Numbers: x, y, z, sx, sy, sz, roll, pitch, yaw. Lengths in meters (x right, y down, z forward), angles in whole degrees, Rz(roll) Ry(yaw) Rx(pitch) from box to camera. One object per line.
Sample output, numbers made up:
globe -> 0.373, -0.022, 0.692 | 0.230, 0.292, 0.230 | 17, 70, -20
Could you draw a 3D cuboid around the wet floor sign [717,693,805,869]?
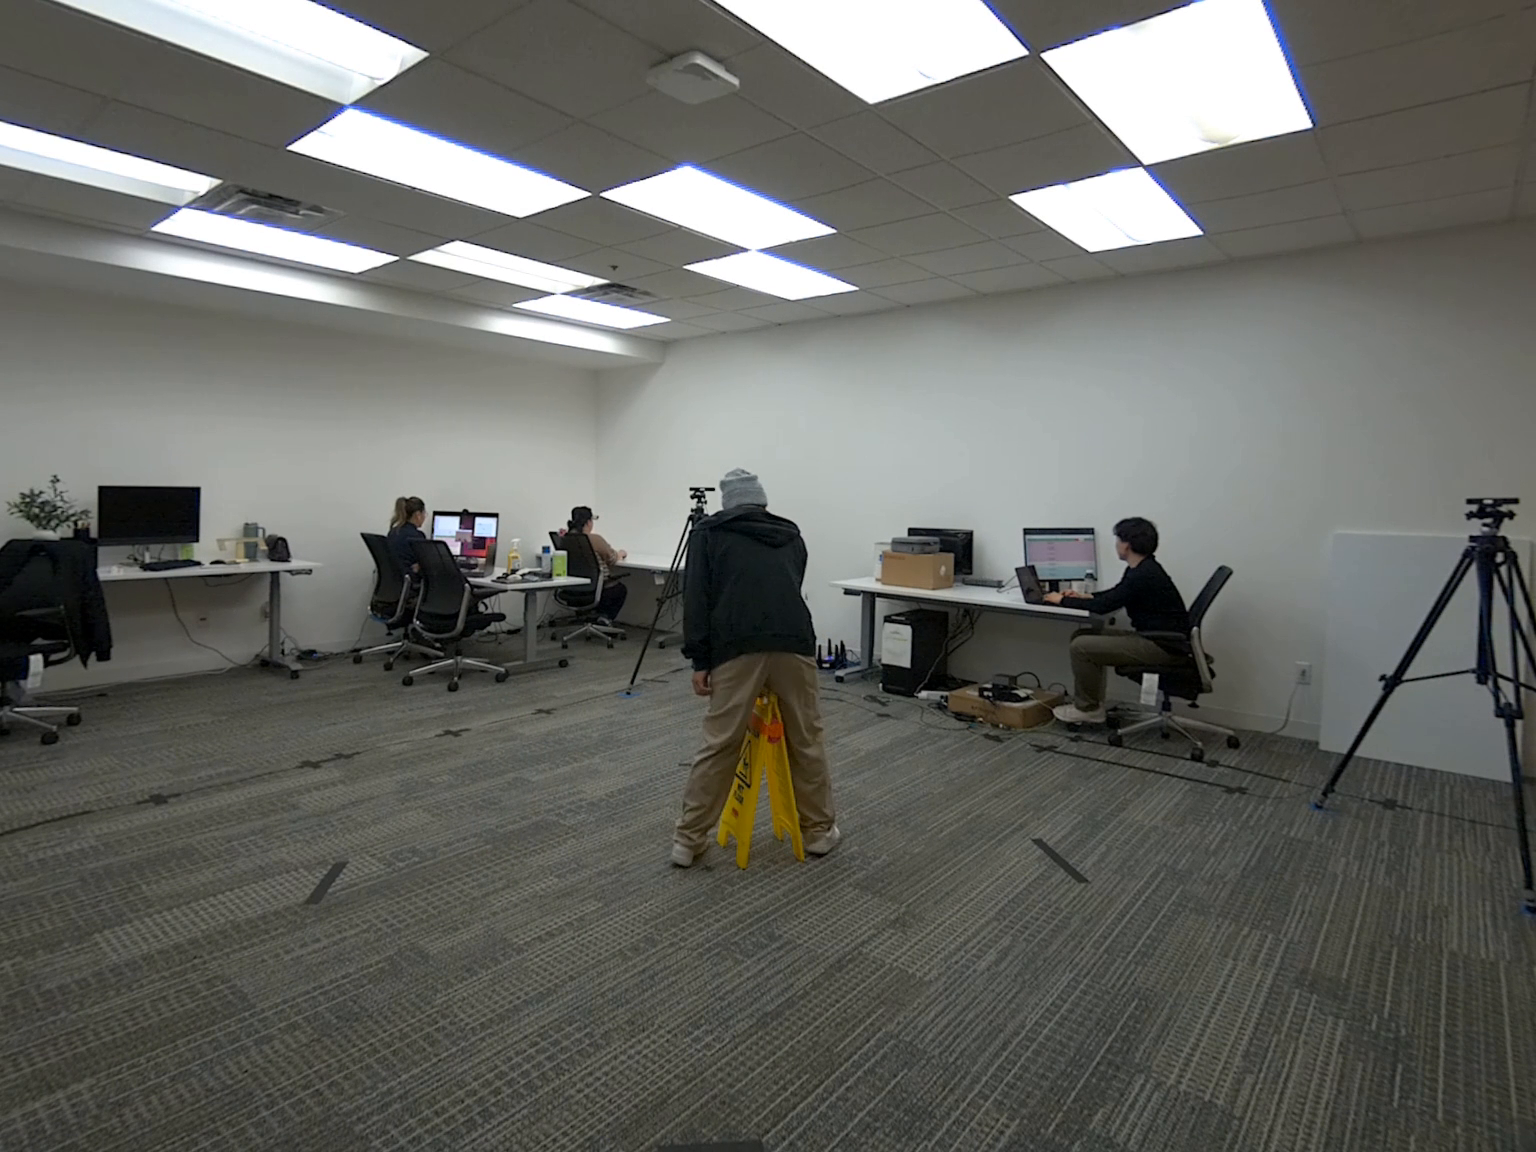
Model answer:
wet floor sign -> -0.029, 0.735, 3.261 | 0.284, 0.644, 0.289 | 2, 3, -20
